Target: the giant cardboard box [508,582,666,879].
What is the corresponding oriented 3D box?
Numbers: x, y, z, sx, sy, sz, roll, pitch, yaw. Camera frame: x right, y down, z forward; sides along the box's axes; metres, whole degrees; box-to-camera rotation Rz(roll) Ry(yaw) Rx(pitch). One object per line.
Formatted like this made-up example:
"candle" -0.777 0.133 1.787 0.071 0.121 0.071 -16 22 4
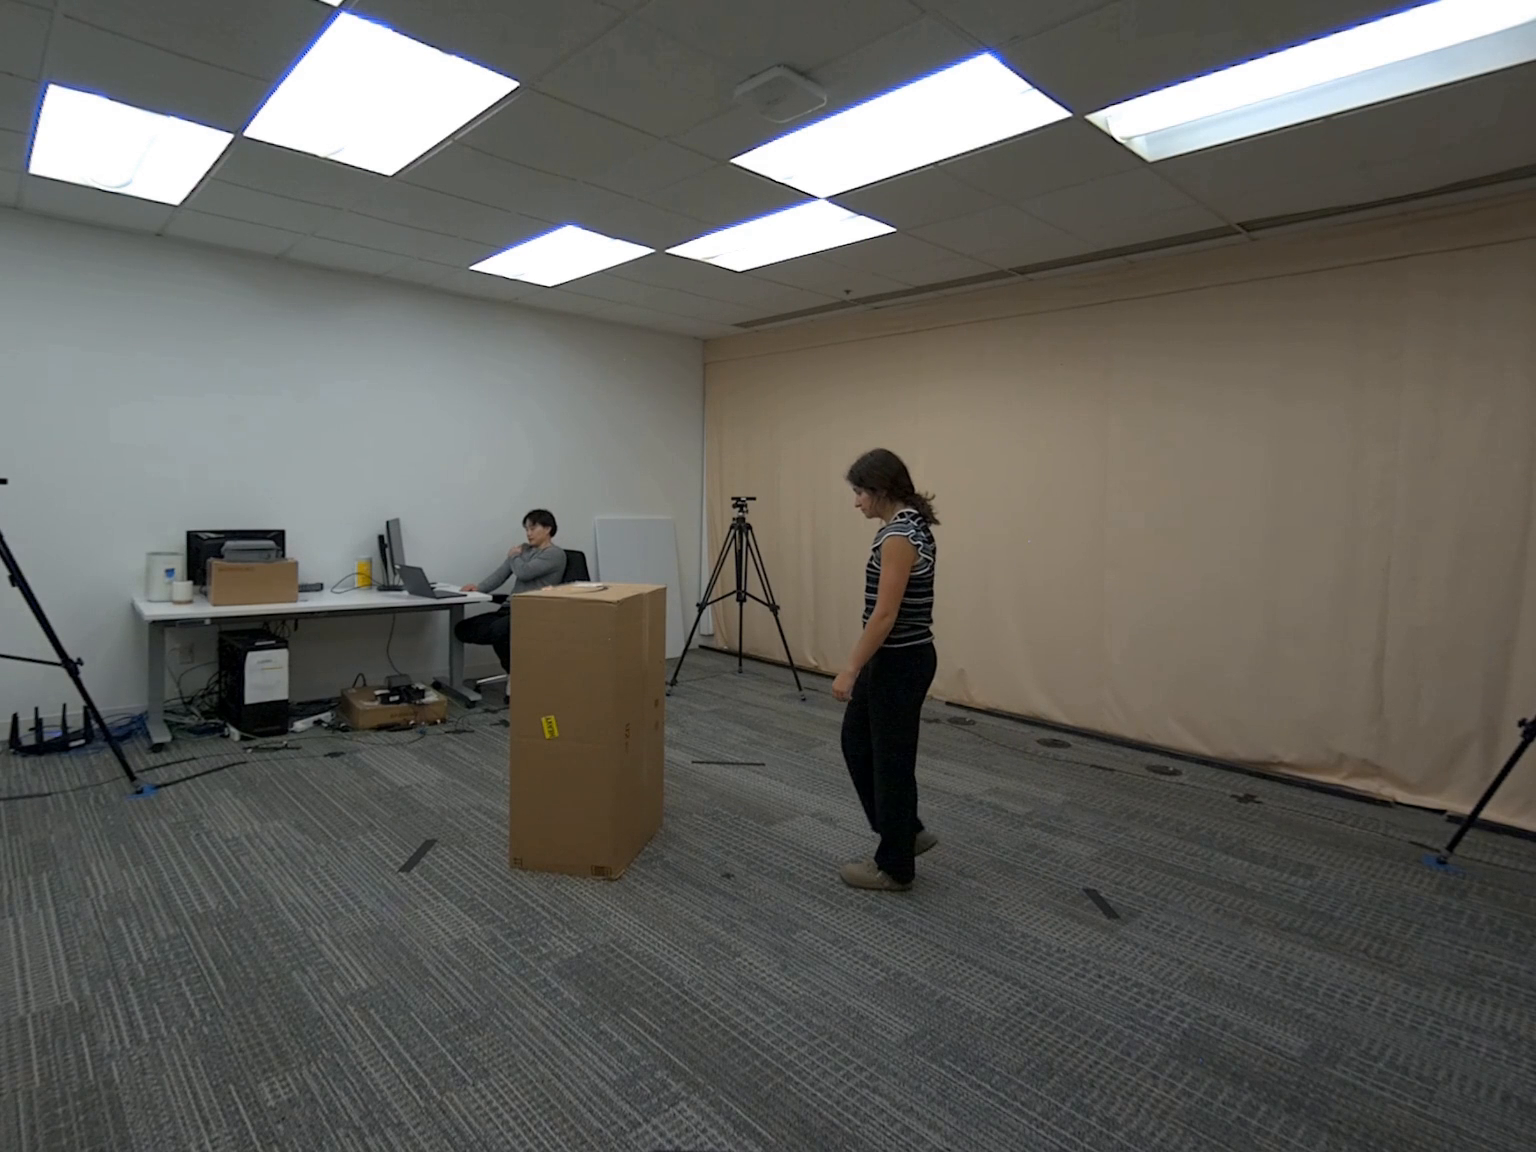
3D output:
"giant cardboard box" -0.701 0.561 3.339 0.431 1.023 0.573 2 4 12
